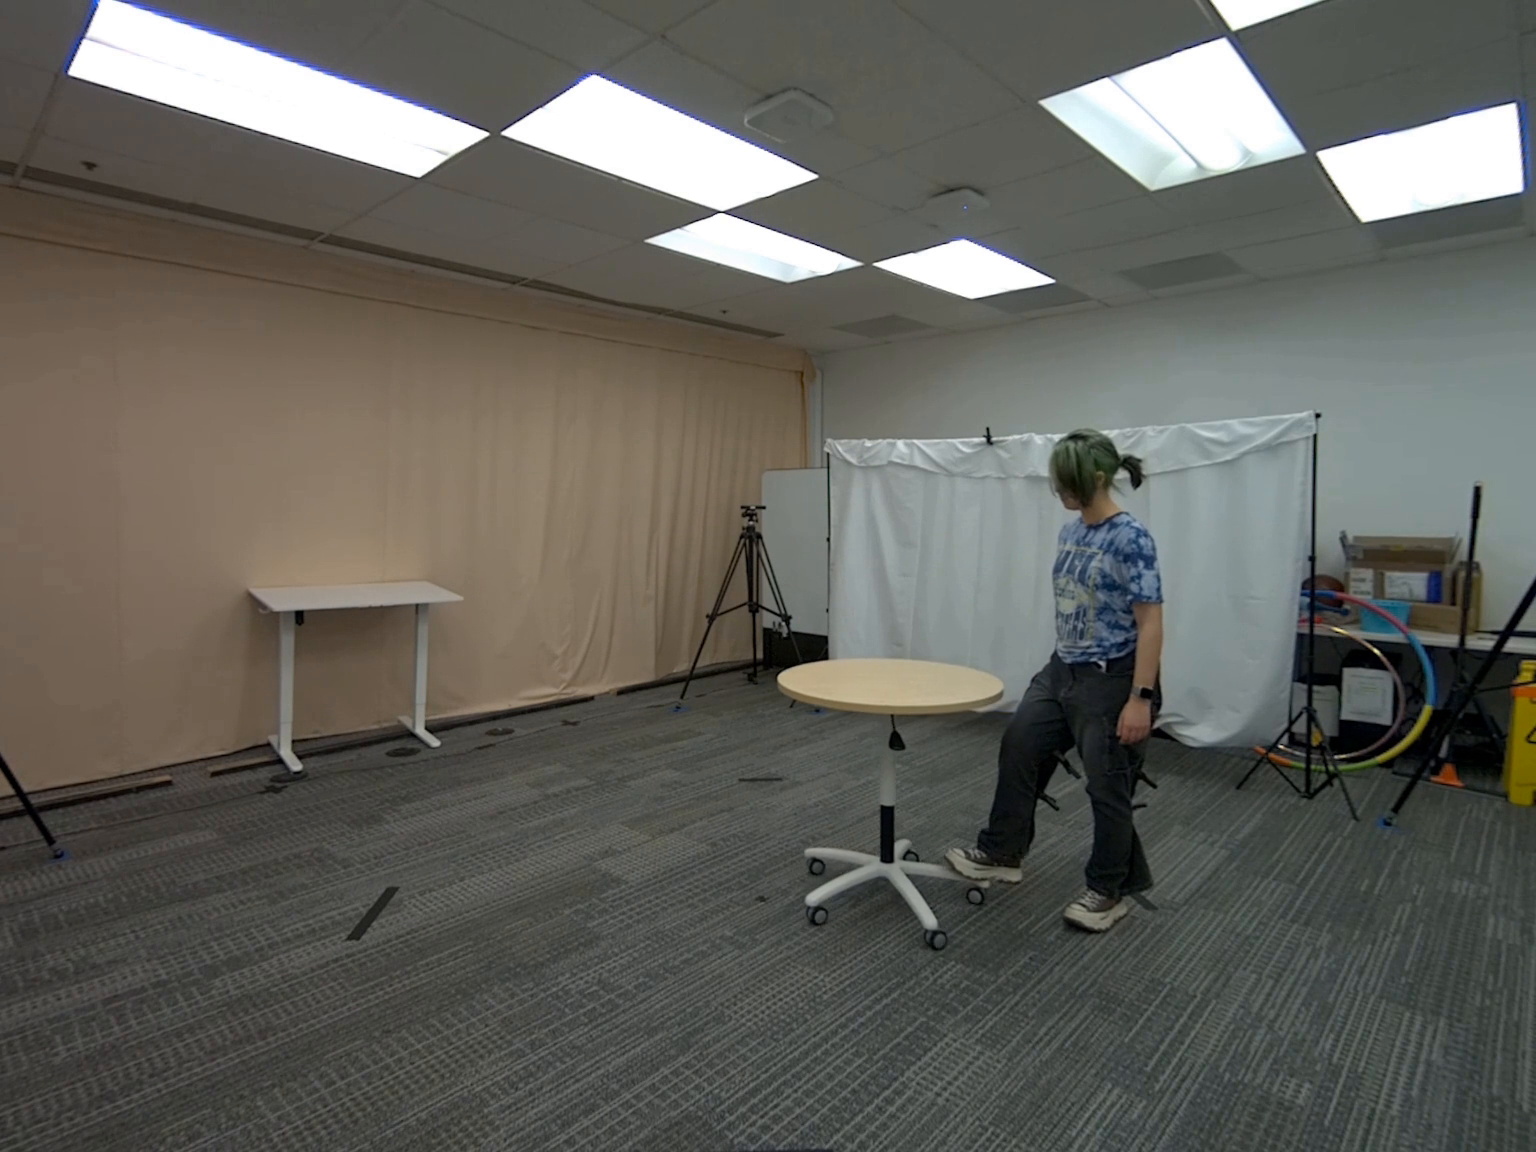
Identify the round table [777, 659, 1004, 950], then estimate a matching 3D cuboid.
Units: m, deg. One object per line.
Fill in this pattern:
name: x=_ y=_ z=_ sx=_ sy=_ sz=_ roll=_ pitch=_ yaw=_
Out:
round table: x=0.418 y=0.757 z=2.952 sx=0.763 sy=0.792 sz=0.767 roll=0 pitch=4 yaw=-2
